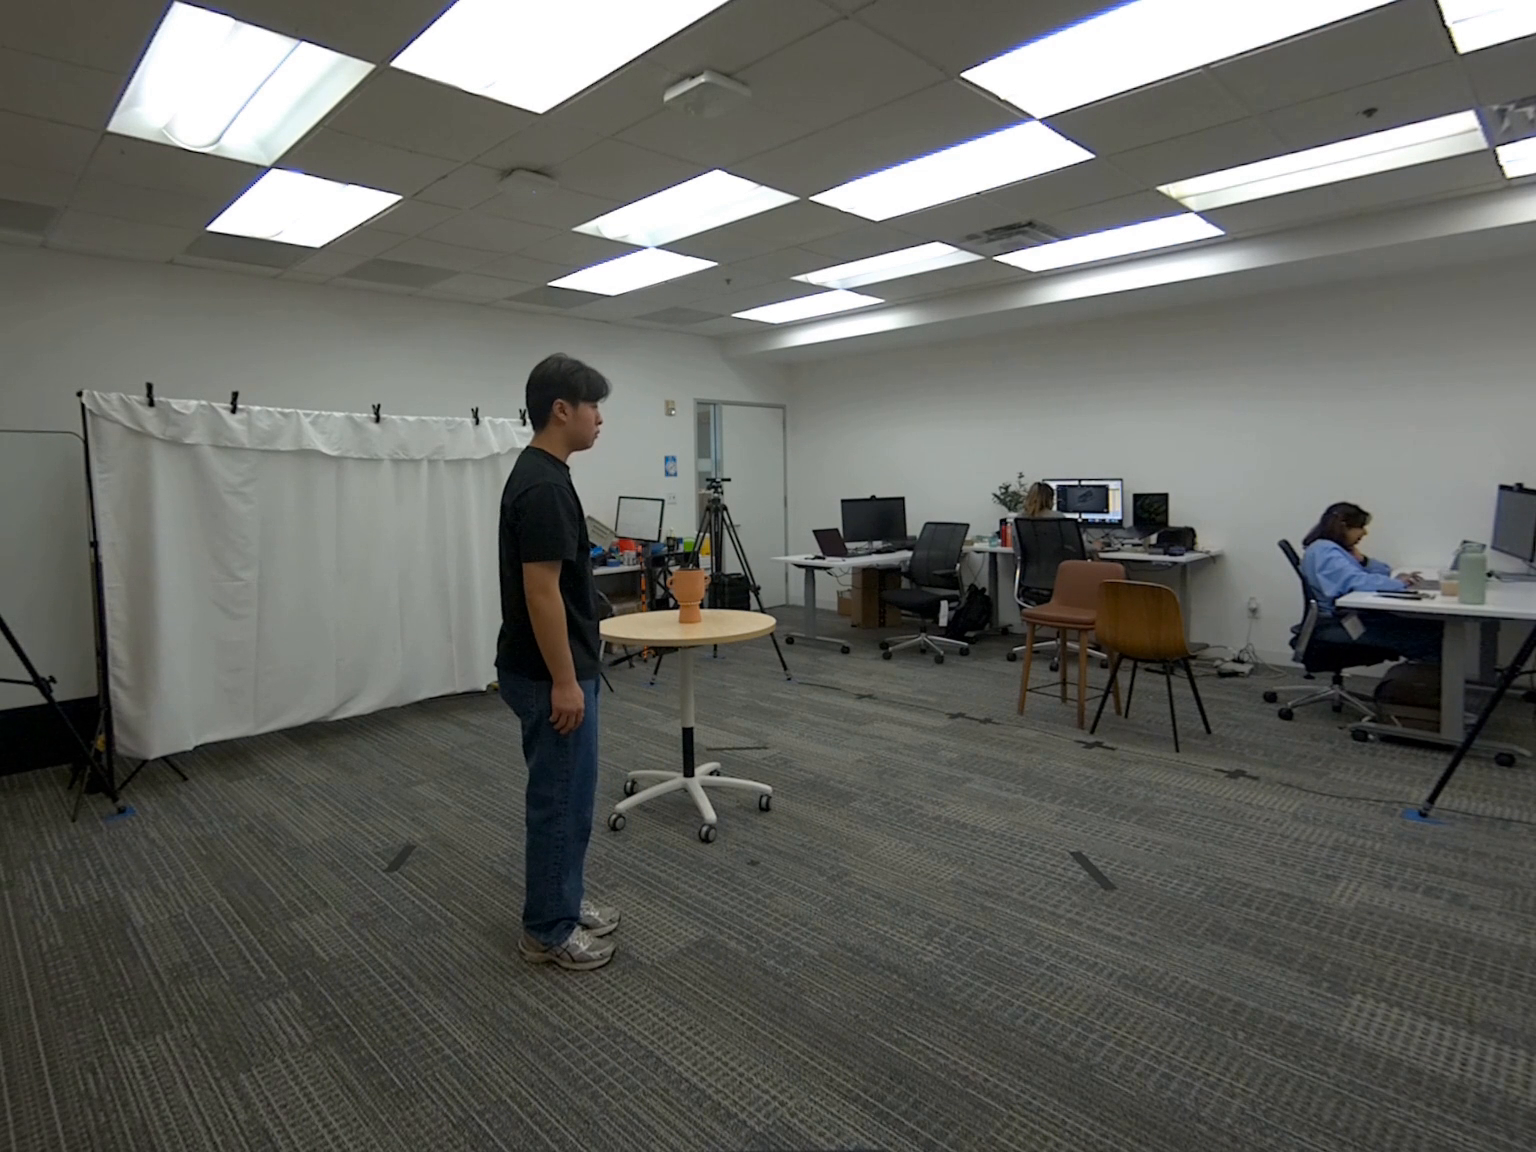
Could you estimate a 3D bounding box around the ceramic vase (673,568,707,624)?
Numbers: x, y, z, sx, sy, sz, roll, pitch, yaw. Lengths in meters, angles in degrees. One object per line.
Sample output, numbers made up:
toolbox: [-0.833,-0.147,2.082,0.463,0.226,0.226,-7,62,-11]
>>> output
ceramic vase: [-0.335,0.086,3.615,0.161,0.219,0.133,-1,4,12]
